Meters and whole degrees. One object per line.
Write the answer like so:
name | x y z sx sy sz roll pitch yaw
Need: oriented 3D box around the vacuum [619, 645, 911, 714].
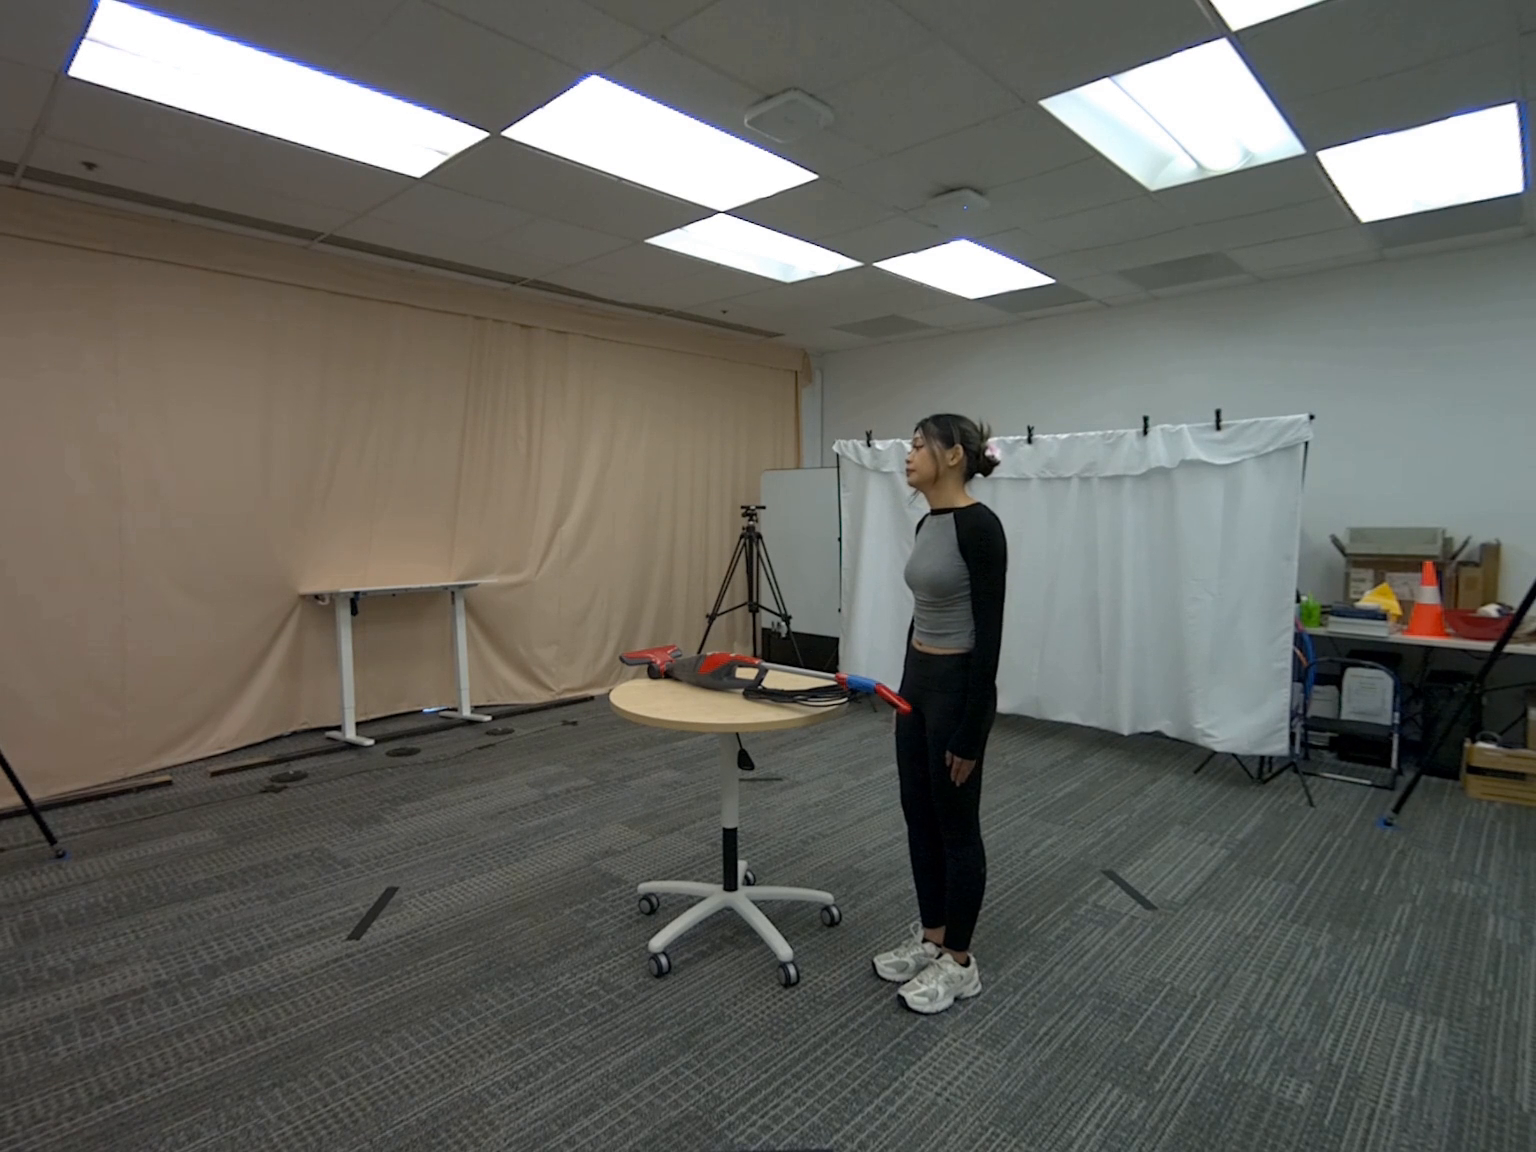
vacuum | -0.019 0.336 2.607 0.245 0.144 1.084 -4 5 -45
